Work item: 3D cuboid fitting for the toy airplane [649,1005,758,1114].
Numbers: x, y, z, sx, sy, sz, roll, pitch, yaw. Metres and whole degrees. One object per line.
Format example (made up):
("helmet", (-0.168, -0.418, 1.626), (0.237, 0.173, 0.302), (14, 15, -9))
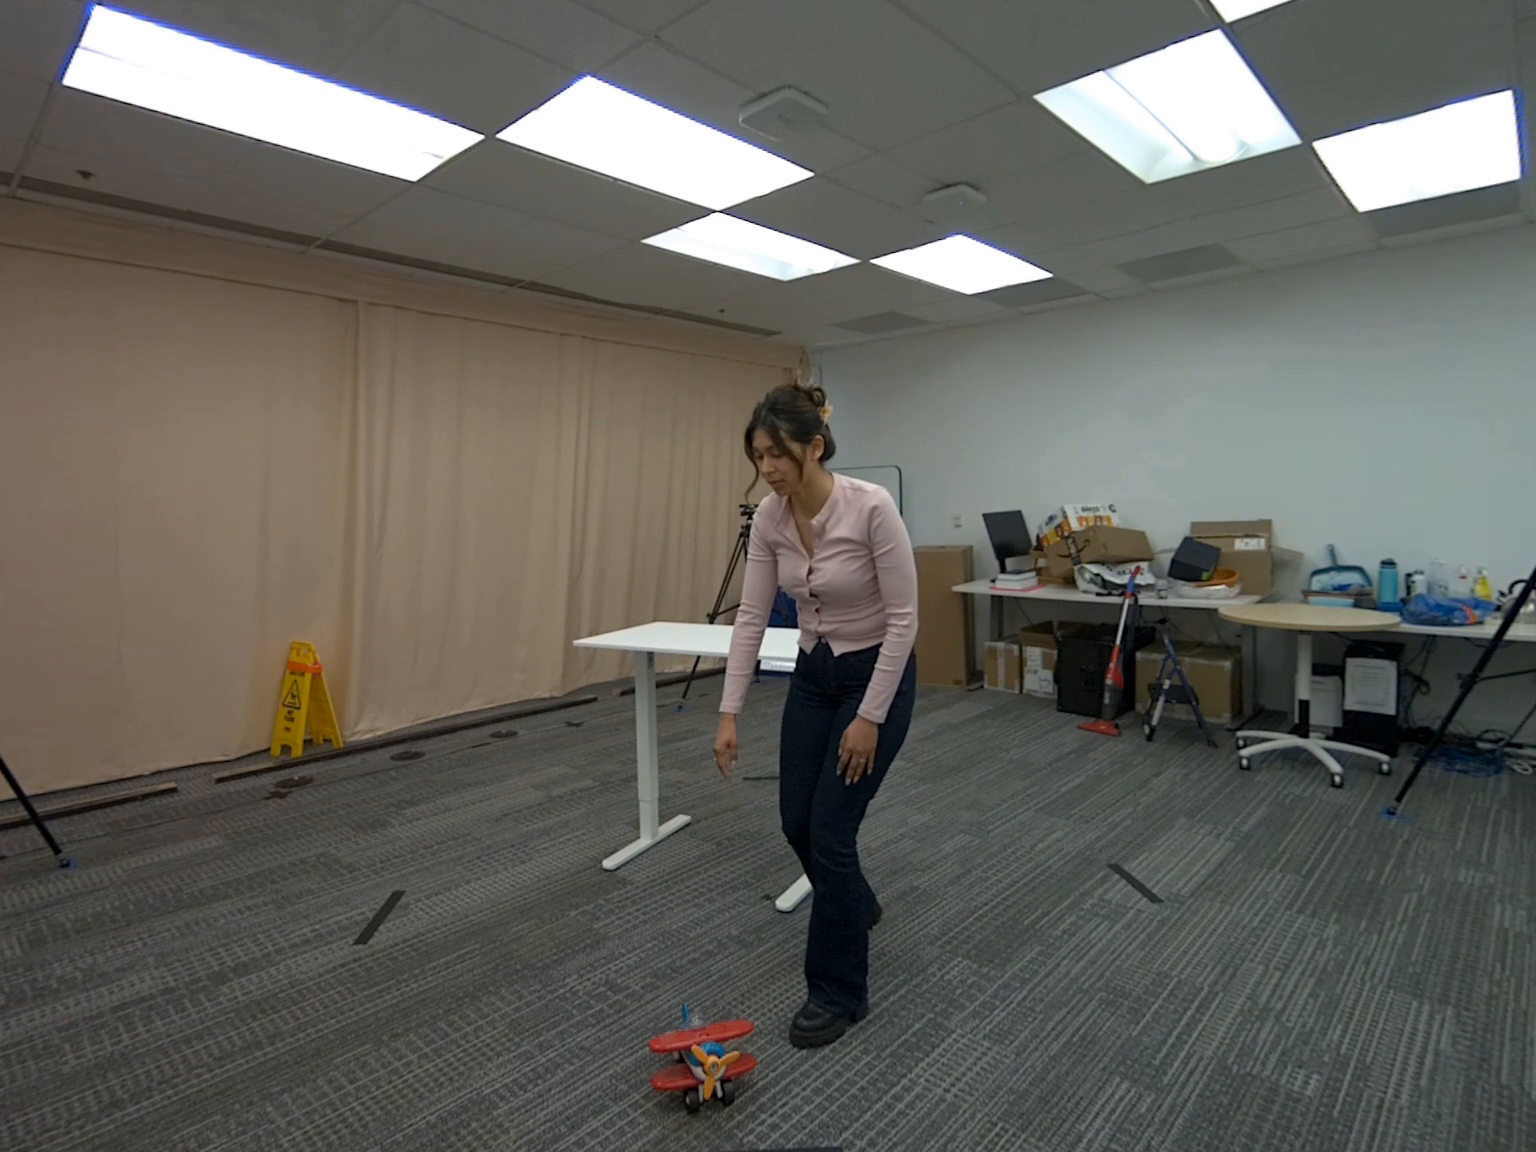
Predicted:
("toy airplane", (-0.179, 1.156, 2.017), (0.268, 0.156, 0.243), (5, 7, 41))
